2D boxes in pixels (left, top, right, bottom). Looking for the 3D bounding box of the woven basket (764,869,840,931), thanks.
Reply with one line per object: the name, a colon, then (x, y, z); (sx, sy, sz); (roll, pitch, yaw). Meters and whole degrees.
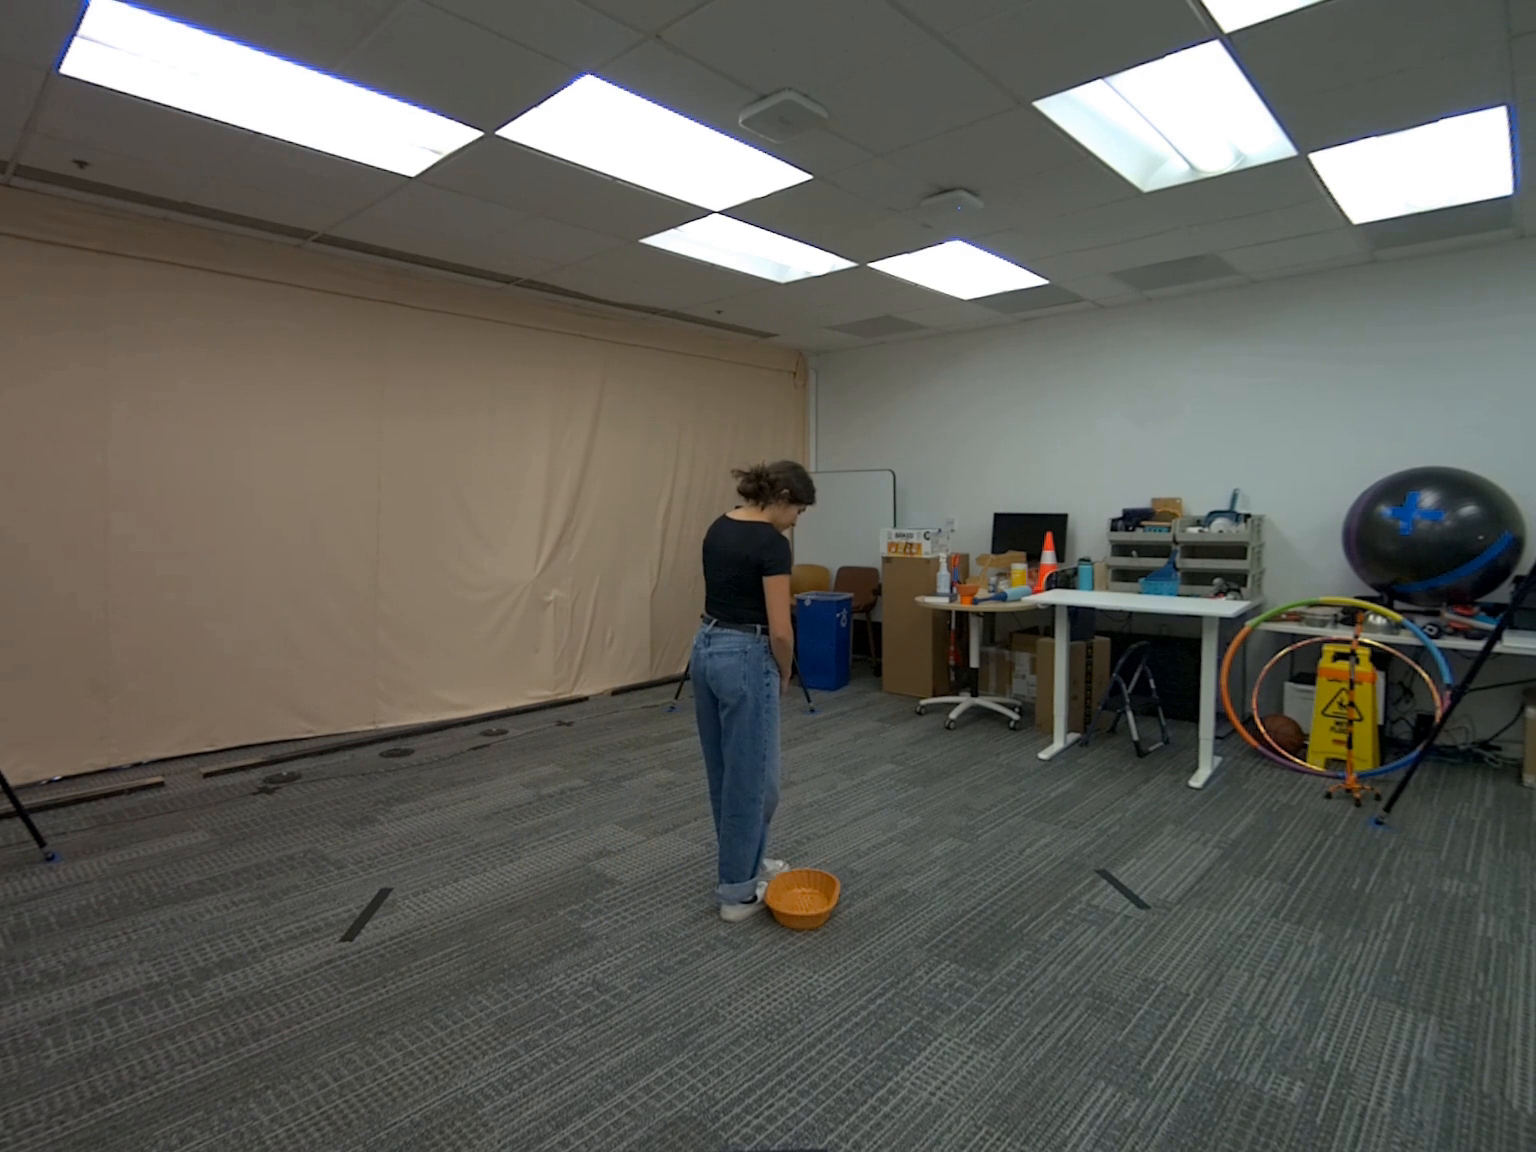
woven basket: (0.121, 1.113, 2.900); (0.257, 0.073, 0.345); (0, 5, 16)
